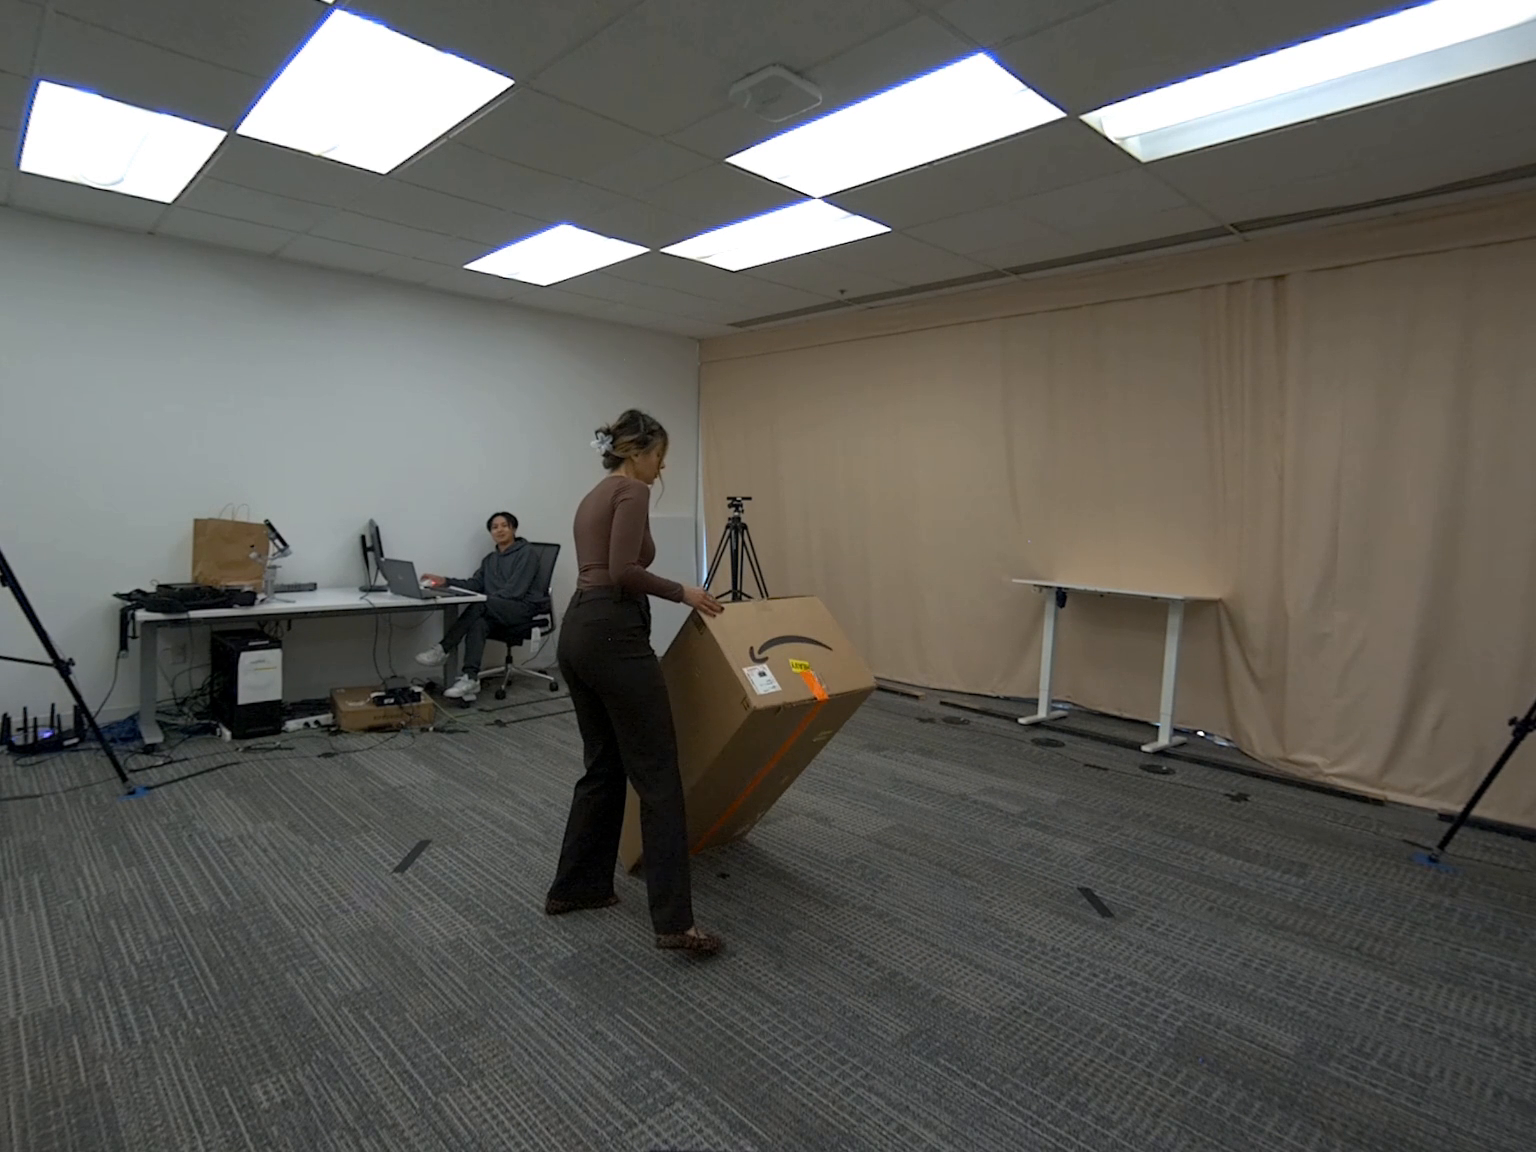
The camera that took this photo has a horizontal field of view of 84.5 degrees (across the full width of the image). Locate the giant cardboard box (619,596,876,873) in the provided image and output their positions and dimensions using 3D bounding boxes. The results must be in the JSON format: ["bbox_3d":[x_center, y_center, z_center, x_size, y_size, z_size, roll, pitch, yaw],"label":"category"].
[{"bbox_3d":[-0.167,0.589,3.102,0.570,1.022,0.459,-1,48,-41],"label":"giant cardboard box"}]
